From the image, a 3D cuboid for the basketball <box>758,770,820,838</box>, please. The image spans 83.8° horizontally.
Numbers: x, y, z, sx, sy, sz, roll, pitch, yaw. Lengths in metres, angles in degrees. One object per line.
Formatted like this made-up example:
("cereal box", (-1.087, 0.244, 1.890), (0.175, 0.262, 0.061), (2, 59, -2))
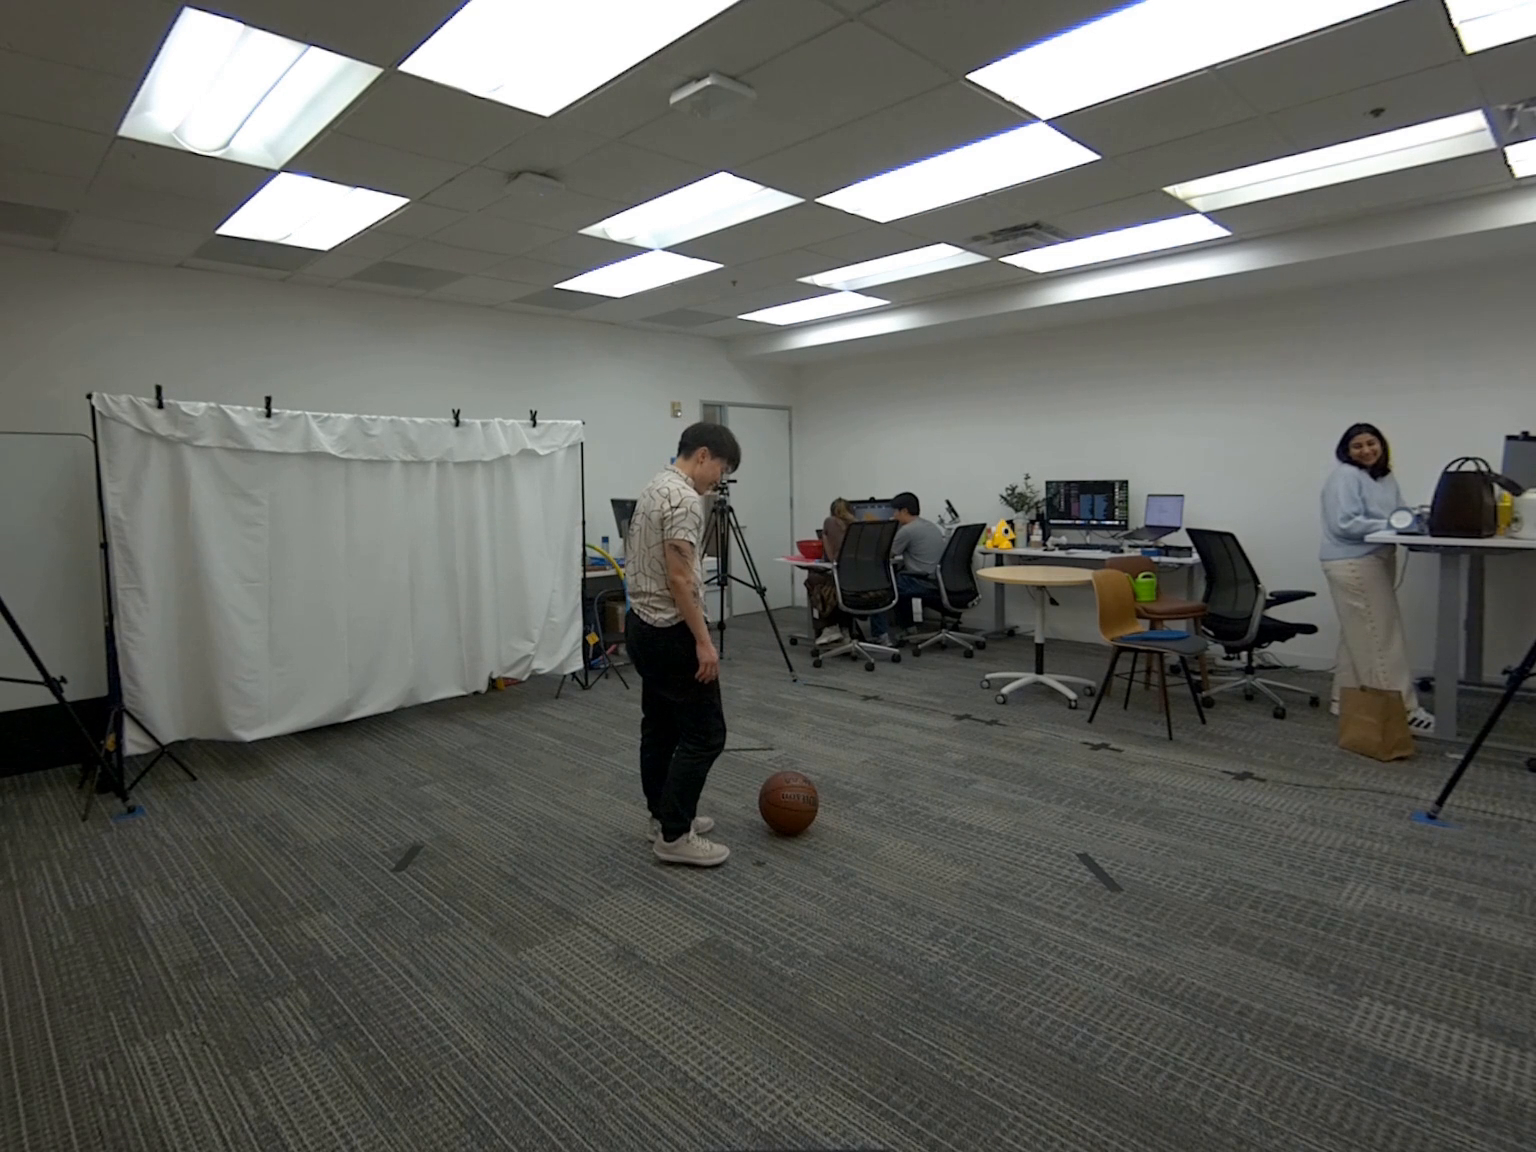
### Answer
("basketball", (0.082, 0.889, 3.389), (0.236, 0.235, 0.237), (-1, 5, -2))
